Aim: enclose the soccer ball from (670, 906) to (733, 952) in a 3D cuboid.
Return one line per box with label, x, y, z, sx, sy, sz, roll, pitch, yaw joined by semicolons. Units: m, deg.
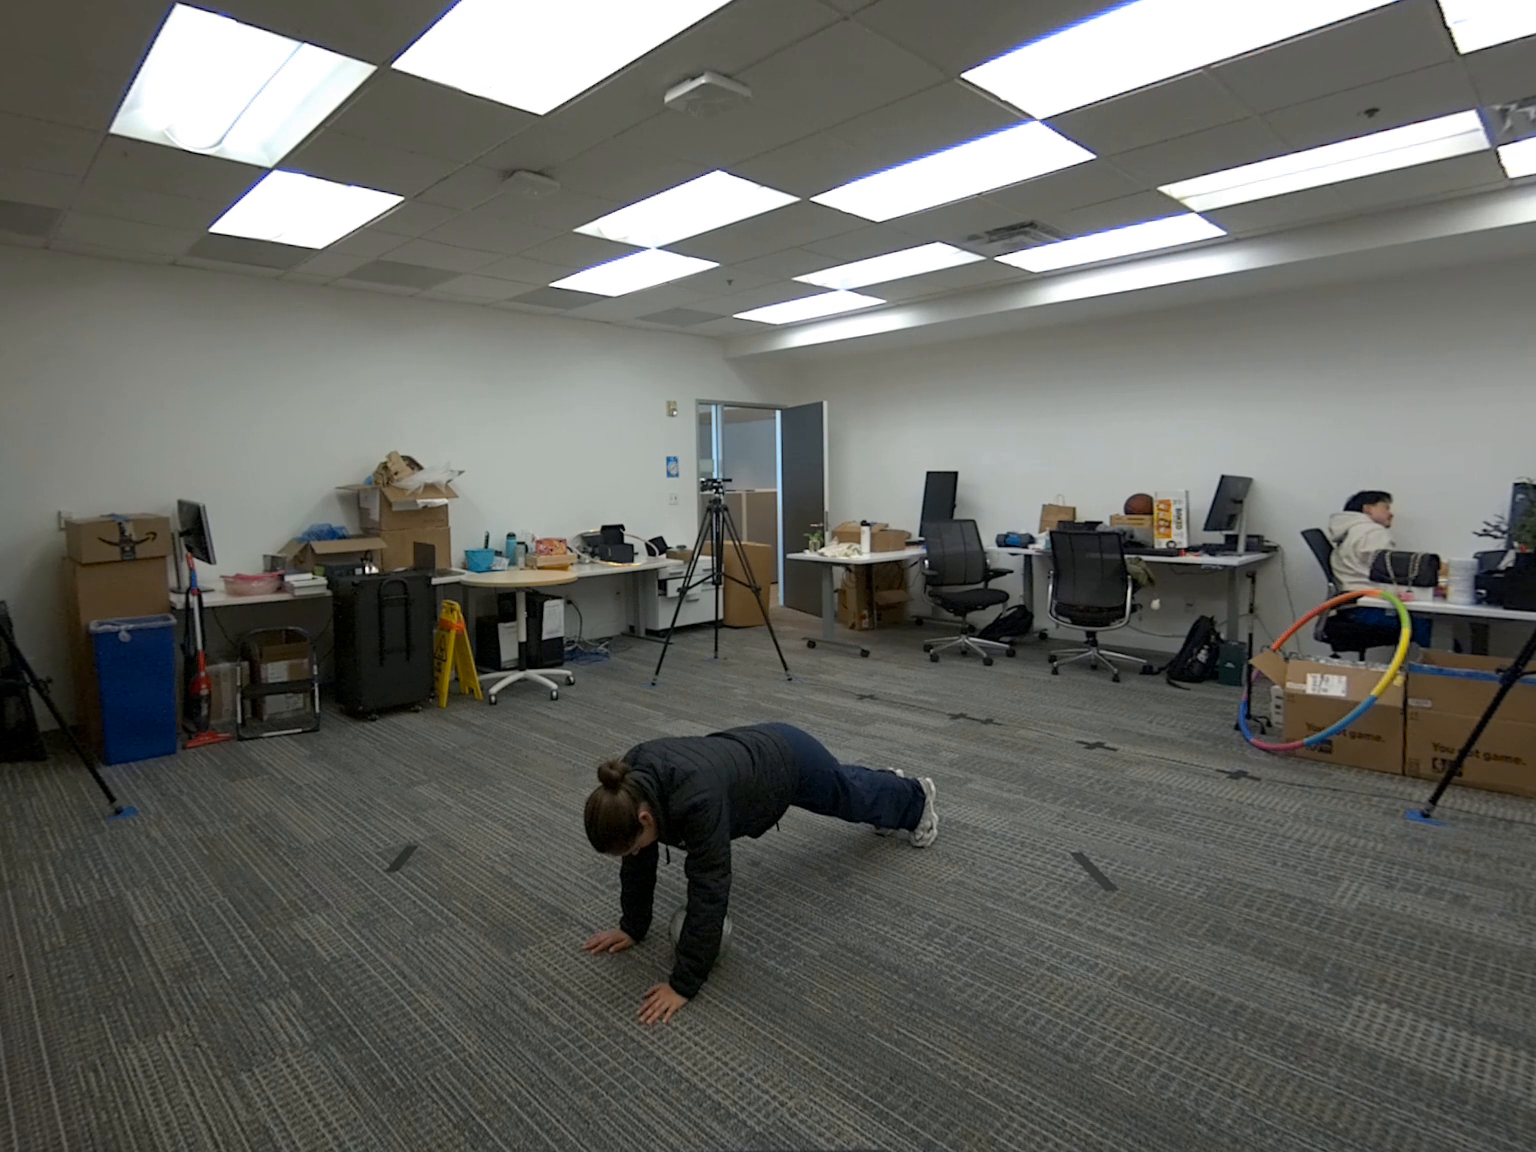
soccer ball;-0.177;1.034;2.471;0.187;0.187;0.188;-1;5;-2
